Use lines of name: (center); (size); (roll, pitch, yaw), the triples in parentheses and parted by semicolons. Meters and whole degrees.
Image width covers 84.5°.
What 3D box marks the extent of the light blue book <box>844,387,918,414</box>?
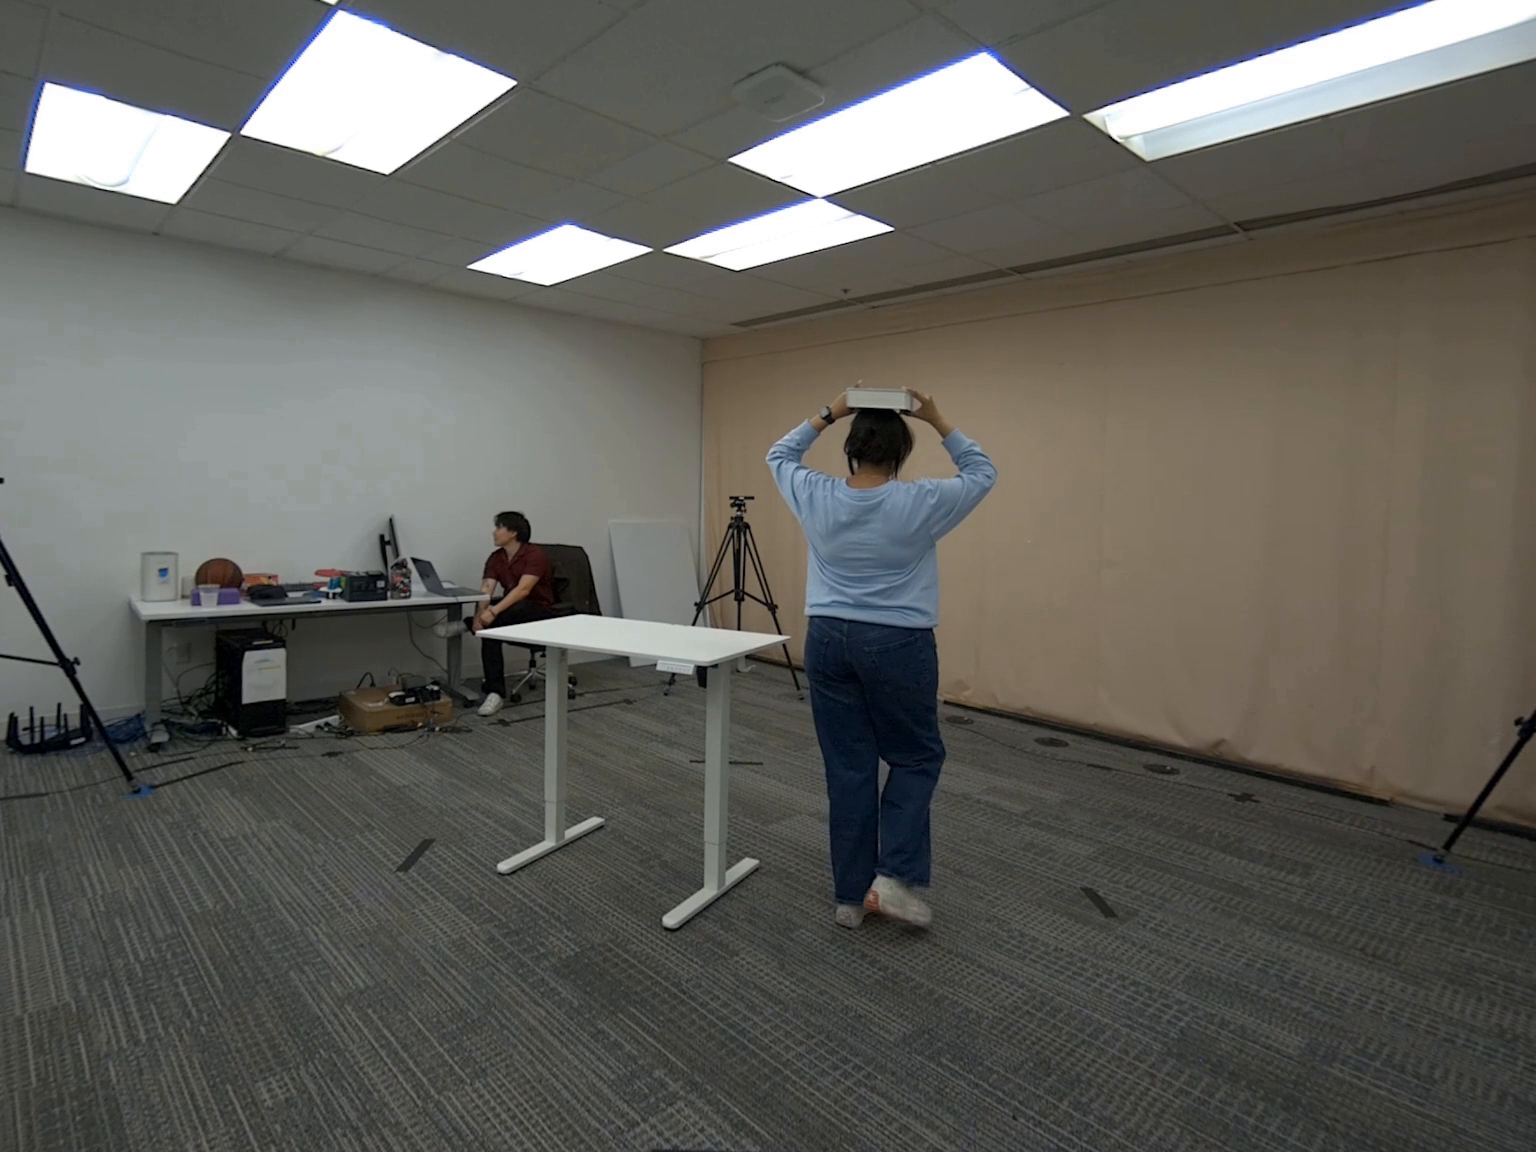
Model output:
light blue book: (0.365, -0.570, 2.749); (0.193, 0.059, 0.260); (6, 9, 11)
